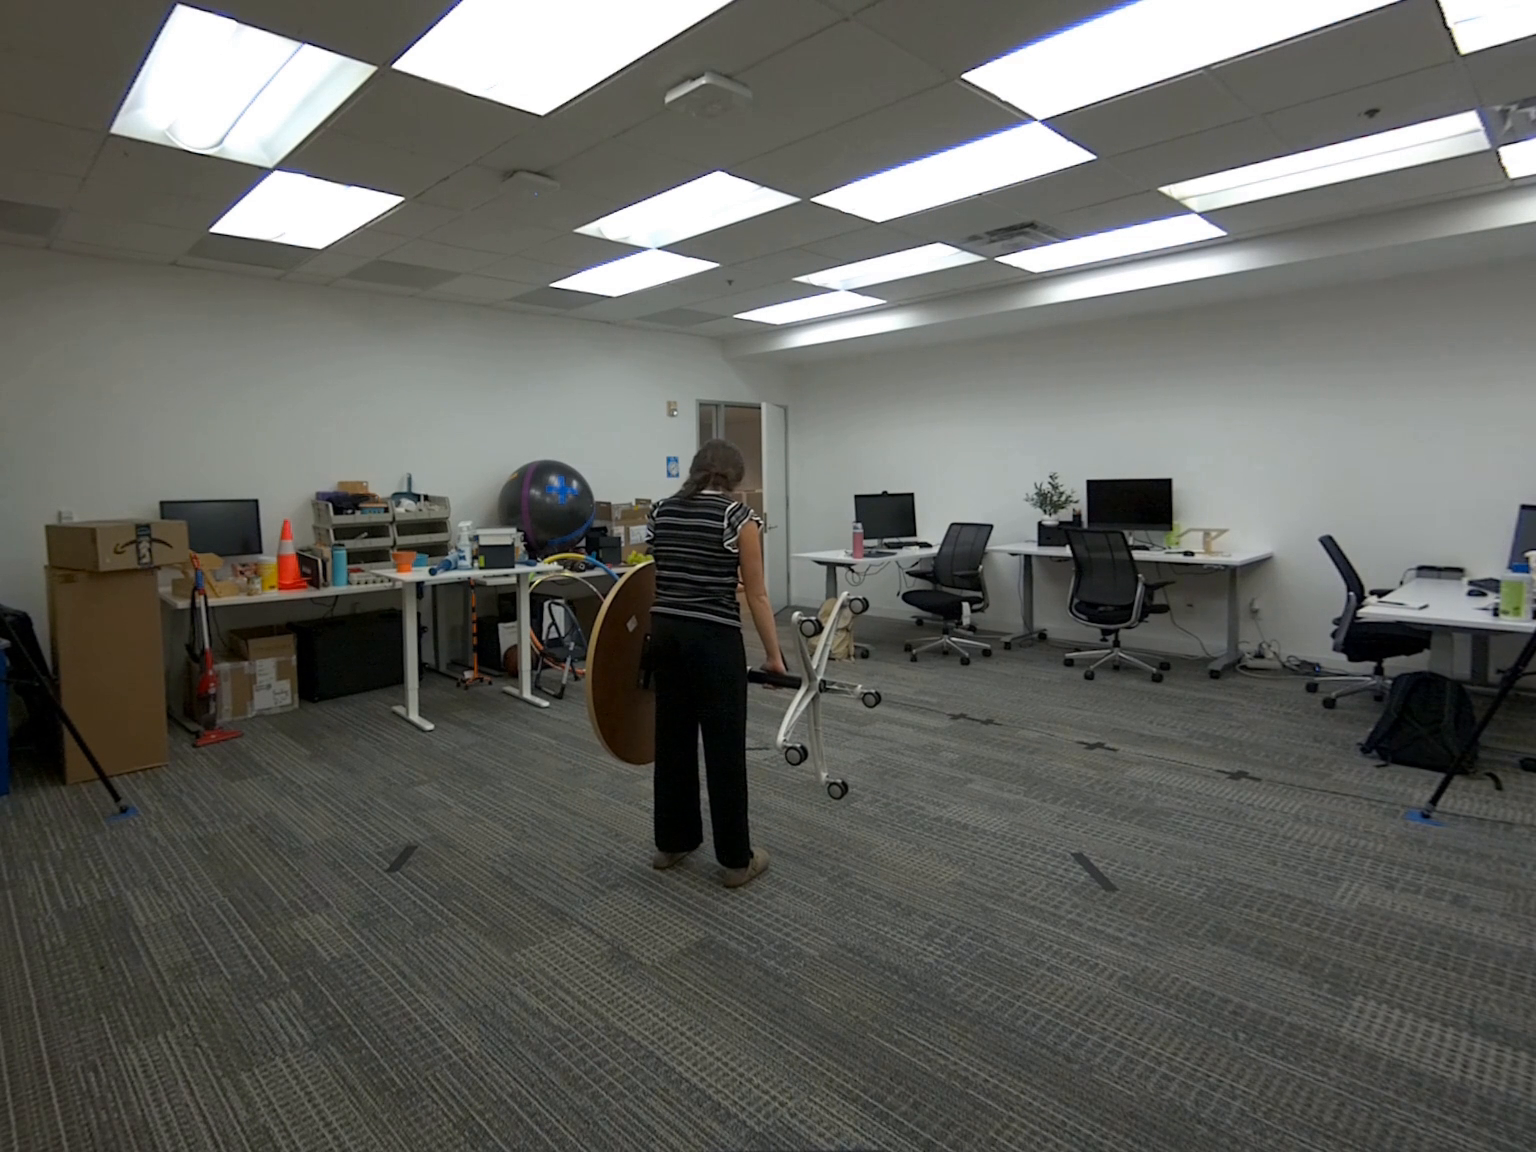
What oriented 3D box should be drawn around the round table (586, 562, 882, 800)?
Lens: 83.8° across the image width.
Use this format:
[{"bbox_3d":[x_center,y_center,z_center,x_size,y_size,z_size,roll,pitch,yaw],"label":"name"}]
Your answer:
[{"bbox_3d":[-0.092,0.358,3.036,0.816,0.760,0.747,4,7,31],"label":"round table"}]
